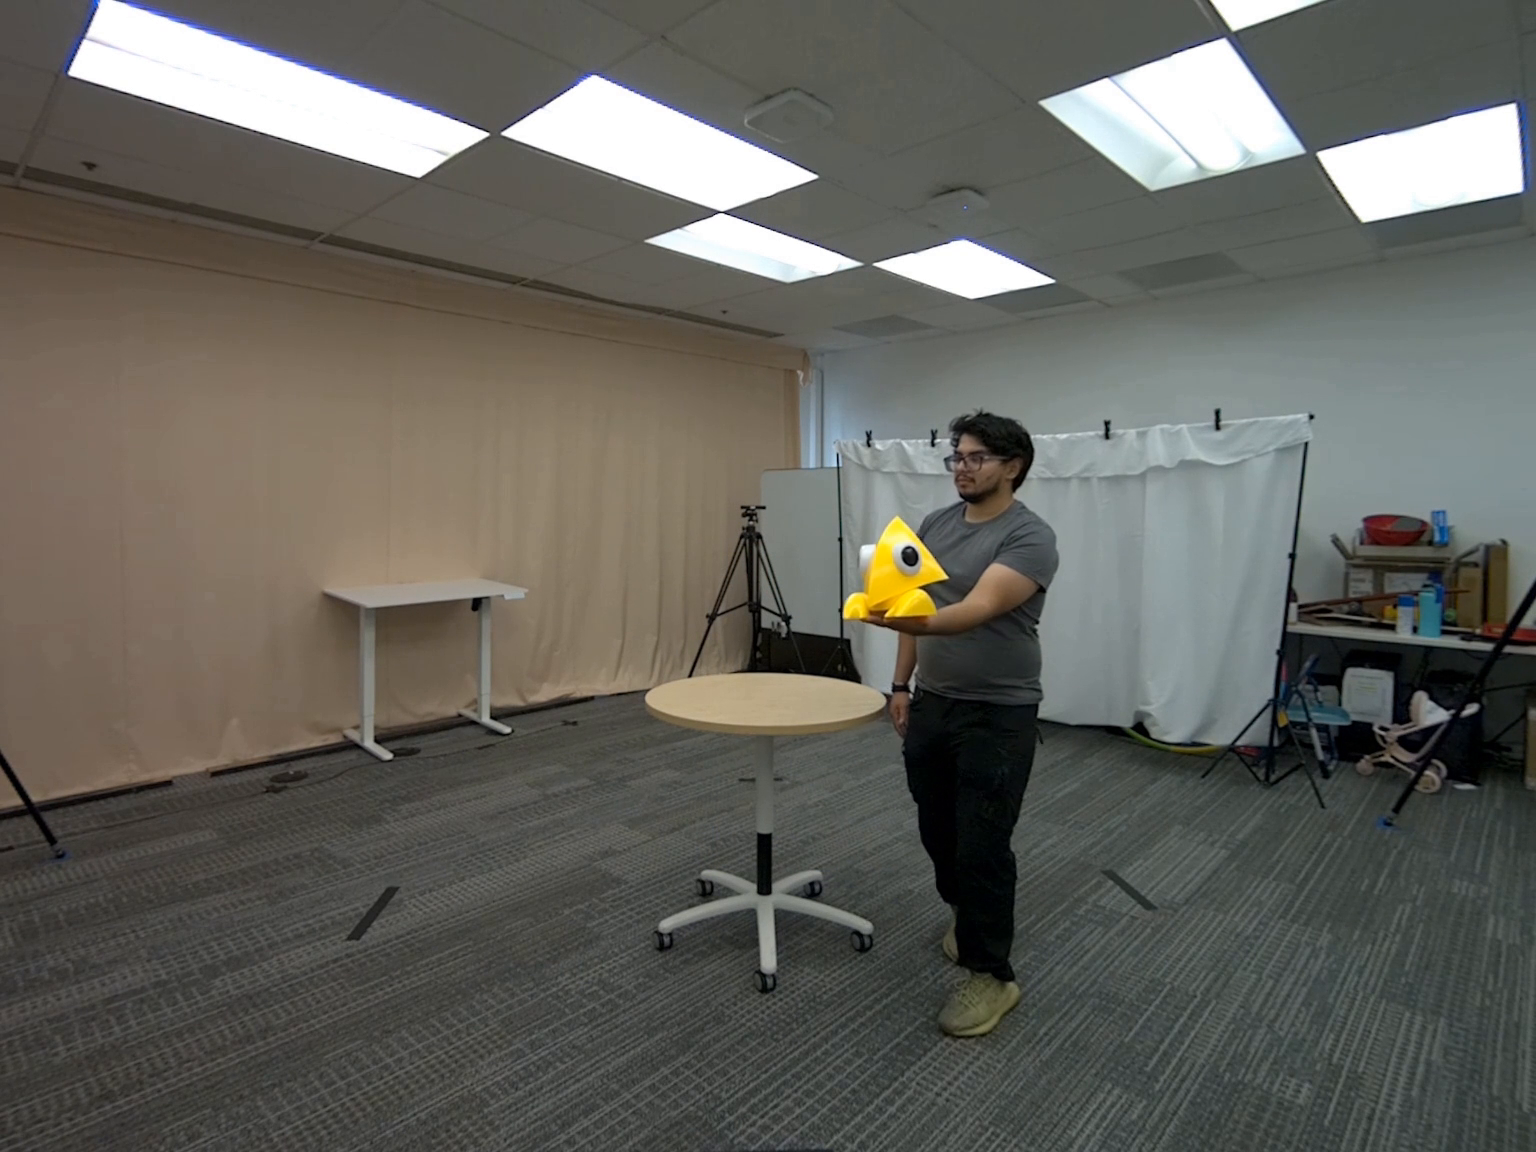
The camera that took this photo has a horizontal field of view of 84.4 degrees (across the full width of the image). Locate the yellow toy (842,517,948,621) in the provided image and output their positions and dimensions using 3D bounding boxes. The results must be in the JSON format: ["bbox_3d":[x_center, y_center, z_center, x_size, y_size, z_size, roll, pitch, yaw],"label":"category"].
[{"bbox_3d":[0.284,-0.024,1.909,0.211,0.231,0.187,-4,-4,39],"label":"yellow toy"}]
